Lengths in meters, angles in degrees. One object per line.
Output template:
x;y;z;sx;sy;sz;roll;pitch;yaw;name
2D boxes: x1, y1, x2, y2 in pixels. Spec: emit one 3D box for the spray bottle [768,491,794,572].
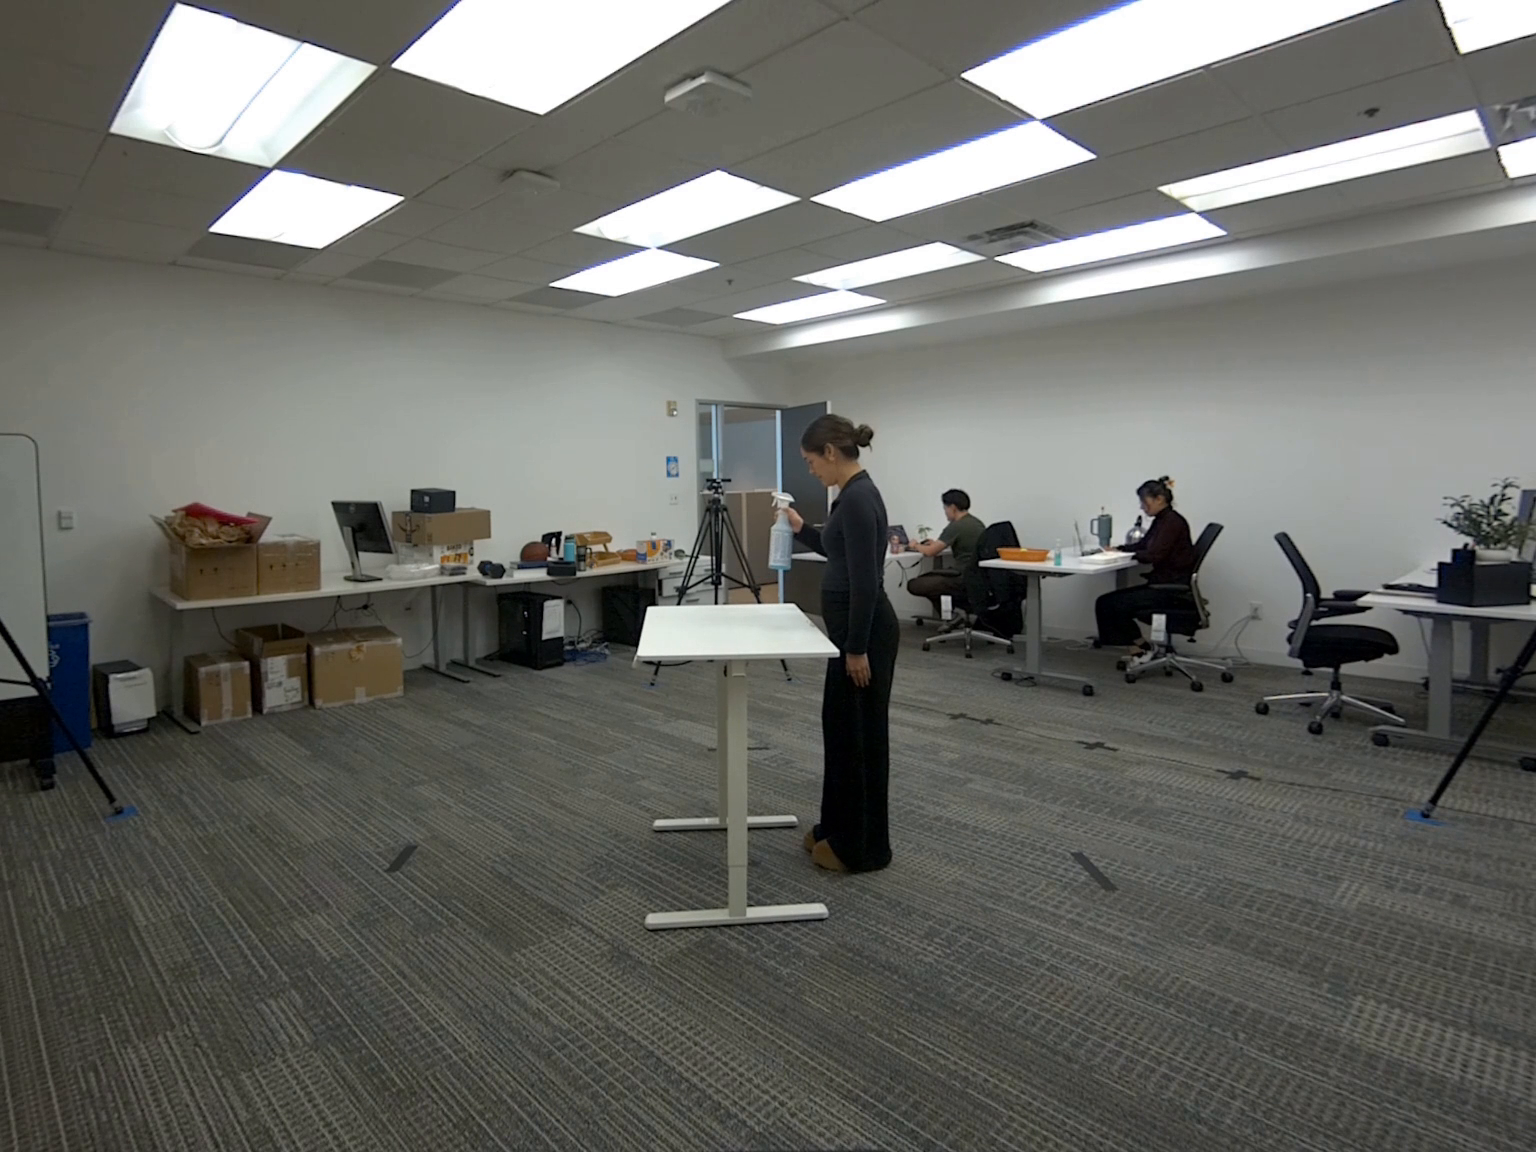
0.062;-0.175;3.335;0.091;0.297;0.086;2;2;7;spray bottle
